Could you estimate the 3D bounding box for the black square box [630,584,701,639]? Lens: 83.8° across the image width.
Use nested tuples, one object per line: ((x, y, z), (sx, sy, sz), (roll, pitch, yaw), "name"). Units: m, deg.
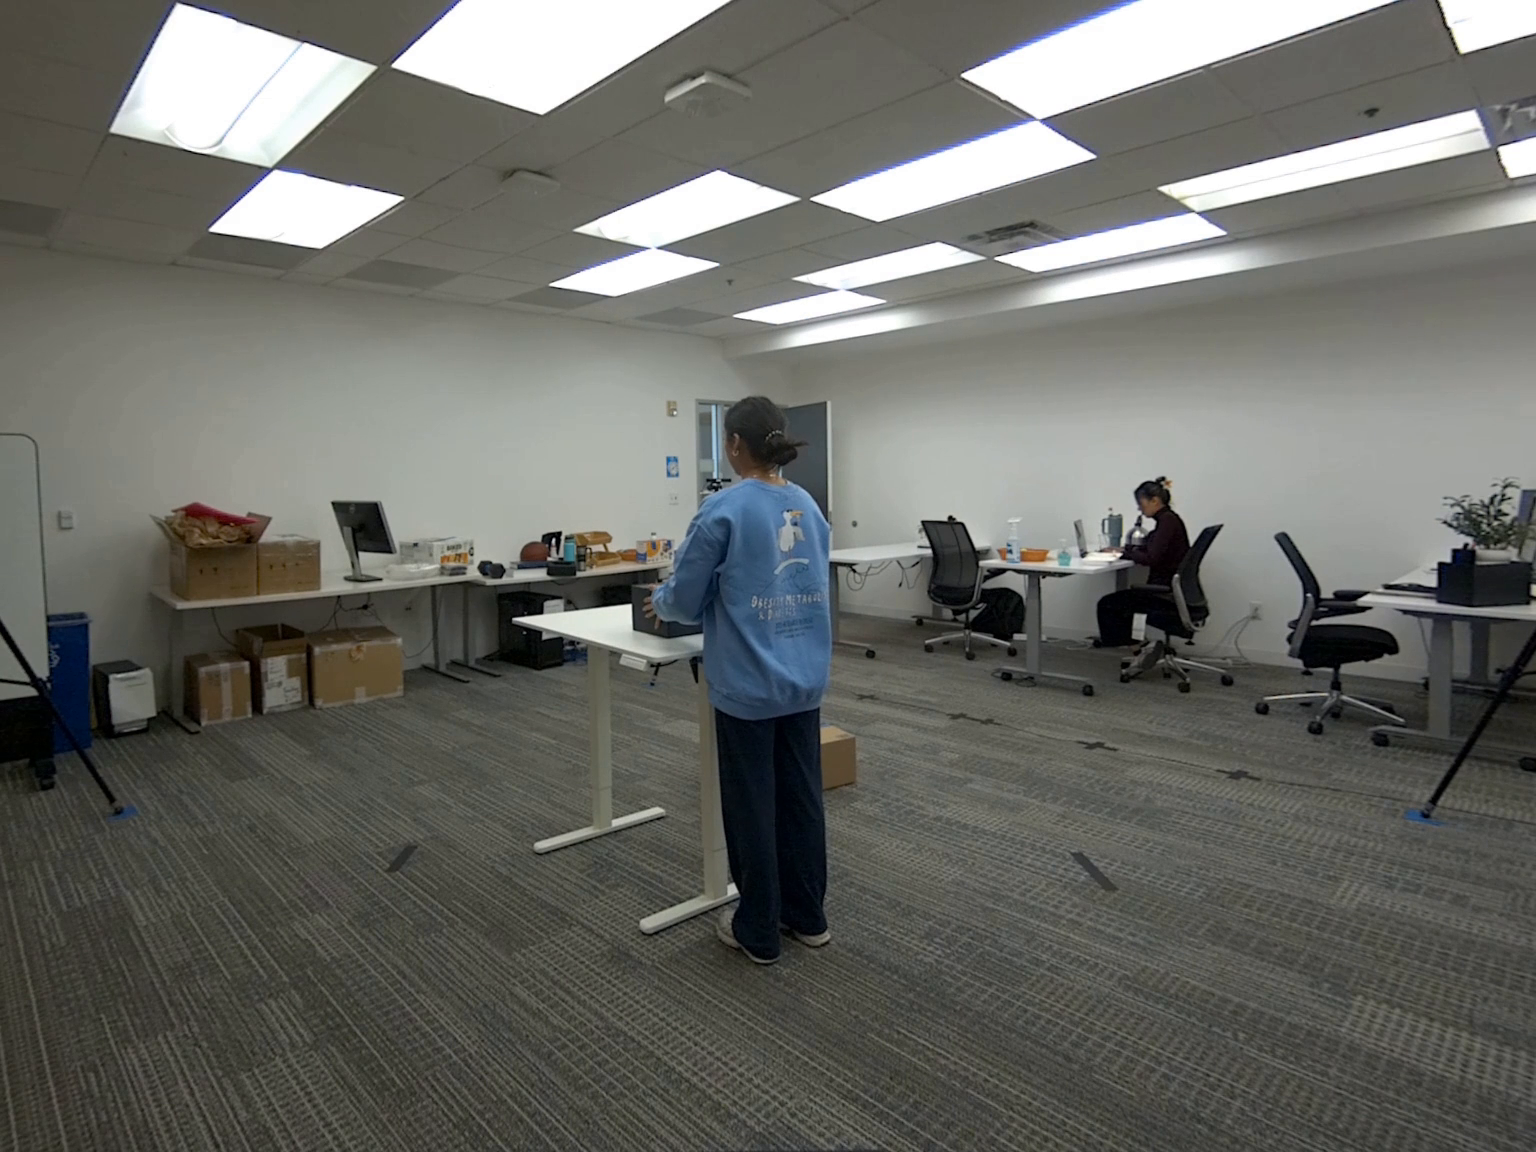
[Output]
((-0.316, 0.111, 2.929), (0.211, 0.155, 0.235), (-5, 6, -39), "black square box")
